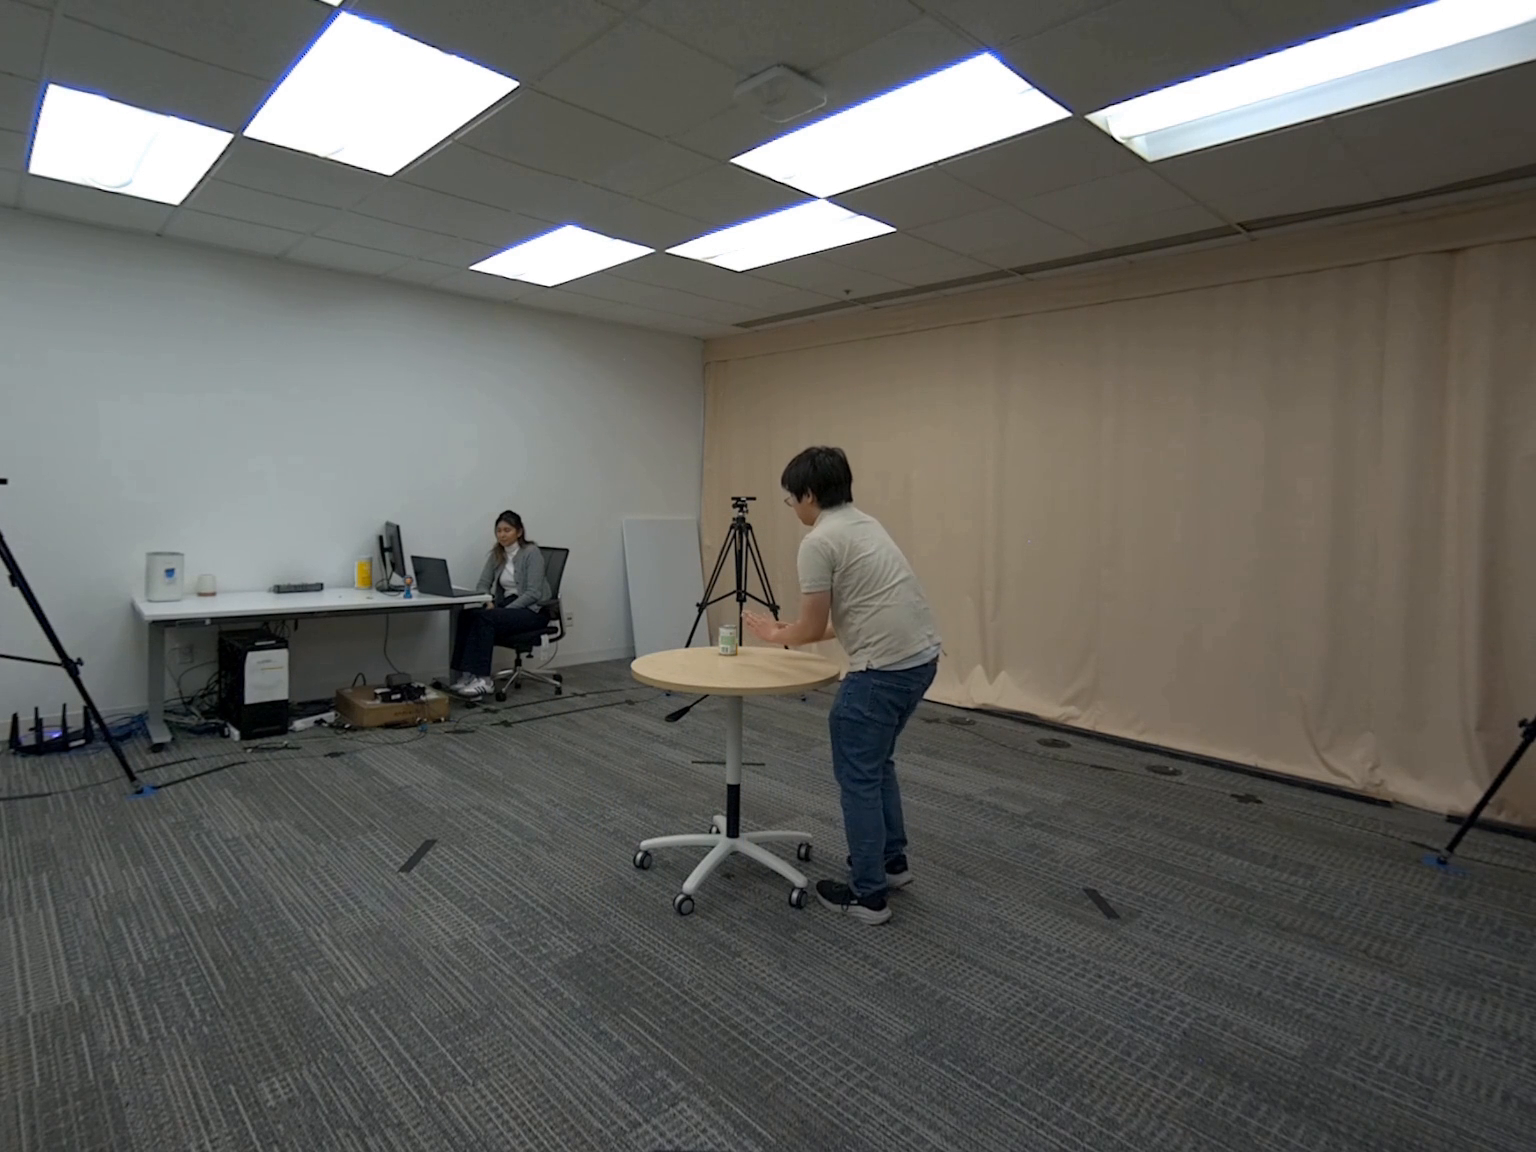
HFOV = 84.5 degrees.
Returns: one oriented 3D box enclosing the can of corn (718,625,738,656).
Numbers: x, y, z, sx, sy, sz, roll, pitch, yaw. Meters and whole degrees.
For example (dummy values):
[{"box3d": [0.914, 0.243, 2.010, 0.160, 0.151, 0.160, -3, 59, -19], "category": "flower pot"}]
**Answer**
[{"box3d": [-0.156, 0.252, 3.280, 0.074, 0.111, 0.074, 0, 2, -1], "category": "can of corn"}]
